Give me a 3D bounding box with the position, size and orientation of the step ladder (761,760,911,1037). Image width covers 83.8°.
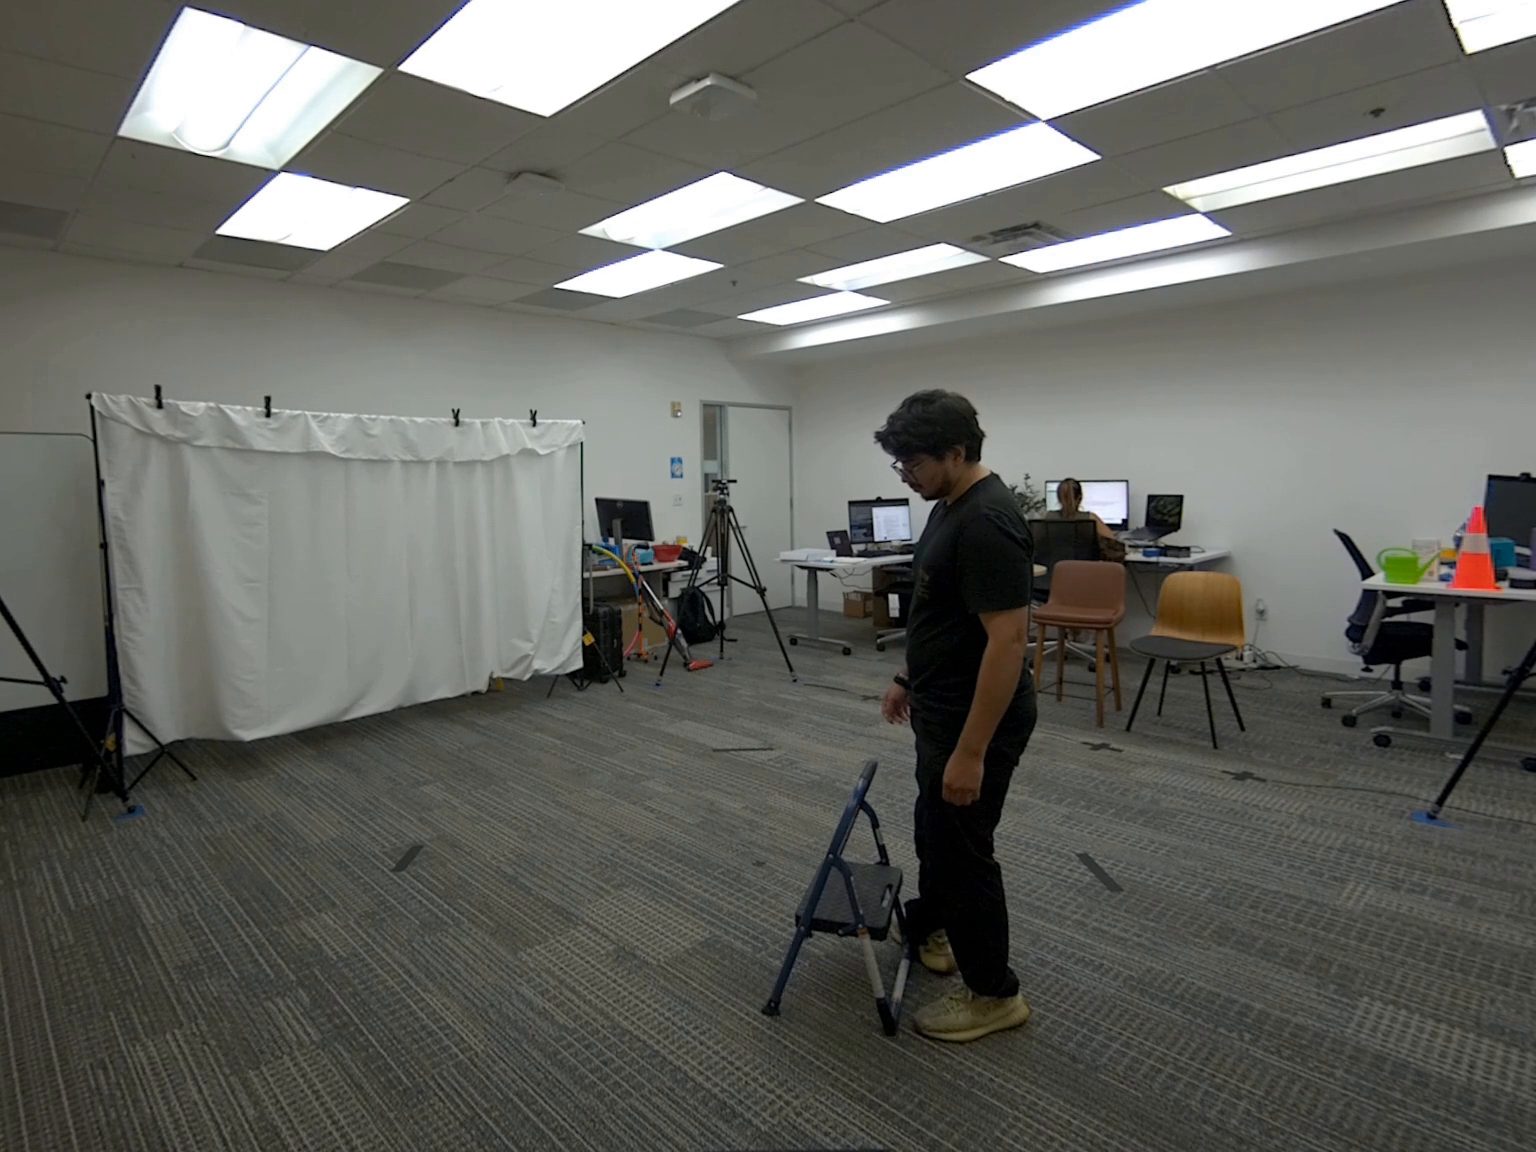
[{"bbox_3d":[0.212,0.831,2.356,0.355,0.604,0.425,0,5,17],"label":"step ladder"}]
